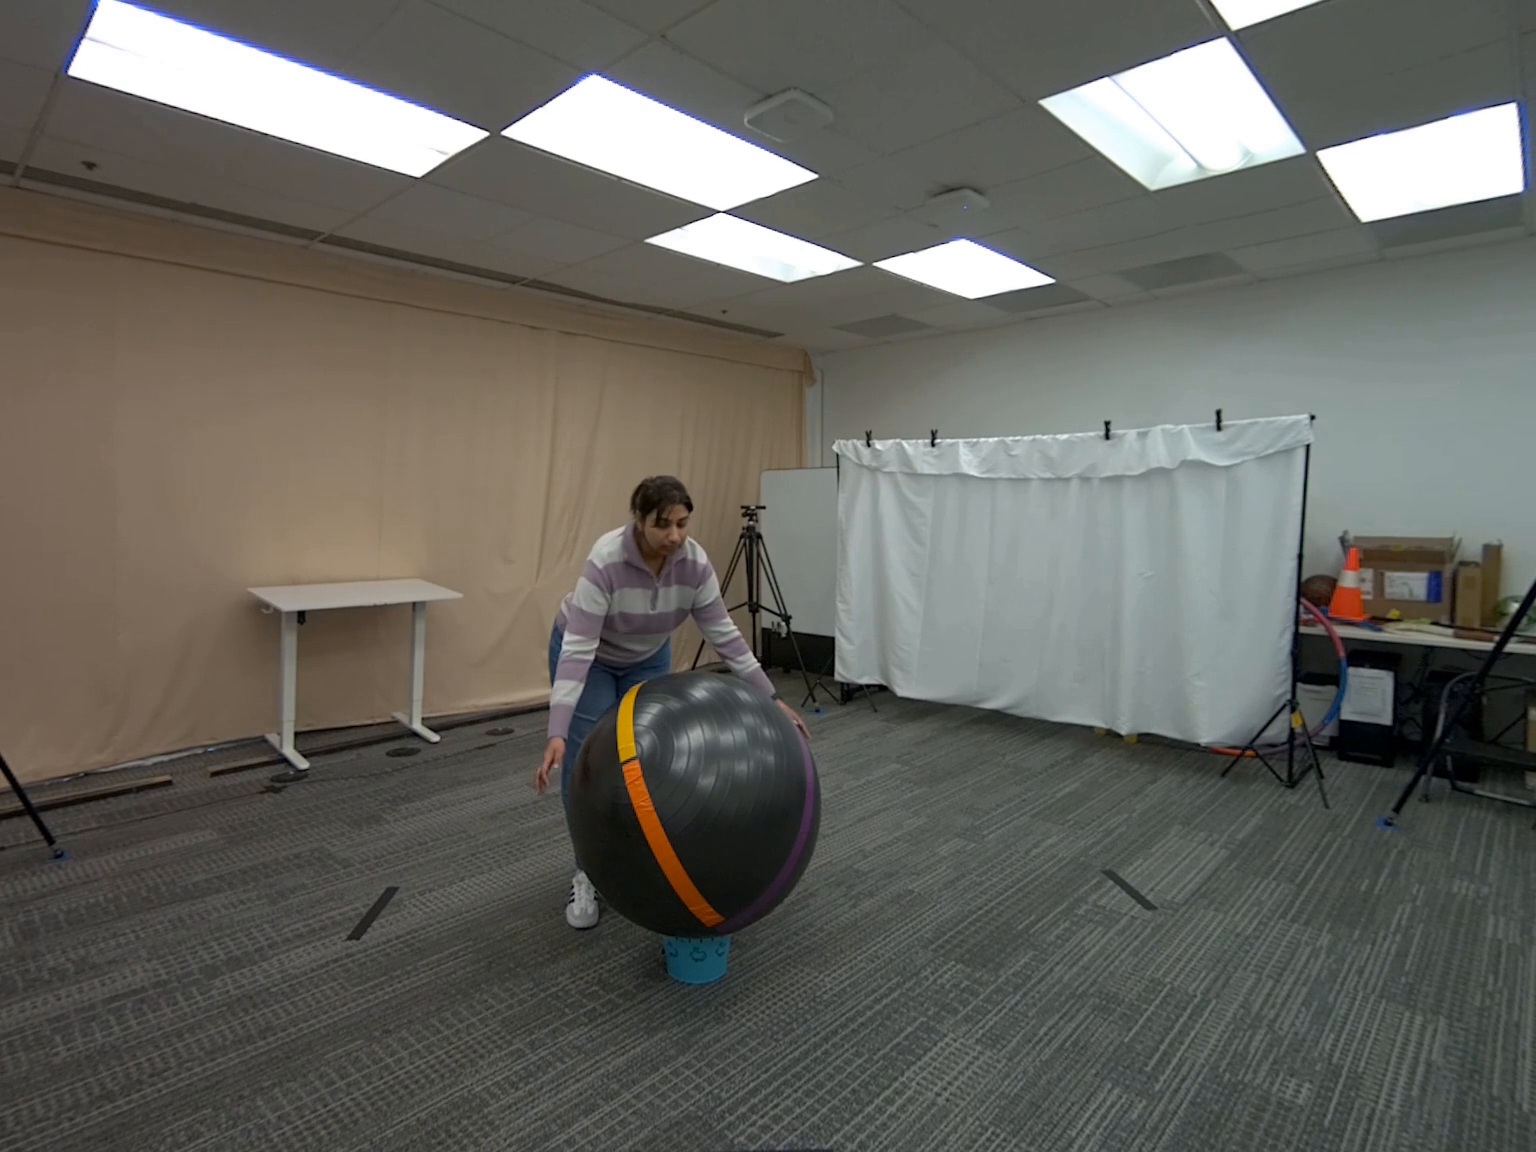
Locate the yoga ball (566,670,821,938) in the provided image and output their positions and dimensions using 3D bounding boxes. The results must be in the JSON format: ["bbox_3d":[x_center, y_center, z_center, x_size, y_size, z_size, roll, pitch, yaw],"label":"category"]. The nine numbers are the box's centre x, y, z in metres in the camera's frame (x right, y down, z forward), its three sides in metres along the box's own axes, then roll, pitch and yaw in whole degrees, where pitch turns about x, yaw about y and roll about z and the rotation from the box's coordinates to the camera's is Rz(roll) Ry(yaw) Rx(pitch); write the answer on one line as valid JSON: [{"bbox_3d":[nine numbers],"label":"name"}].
[{"bbox_3d":[-0.213,0.672,2.516,0.757,0.756,0.761,0,4,-2],"label":"yoga ball"}]
